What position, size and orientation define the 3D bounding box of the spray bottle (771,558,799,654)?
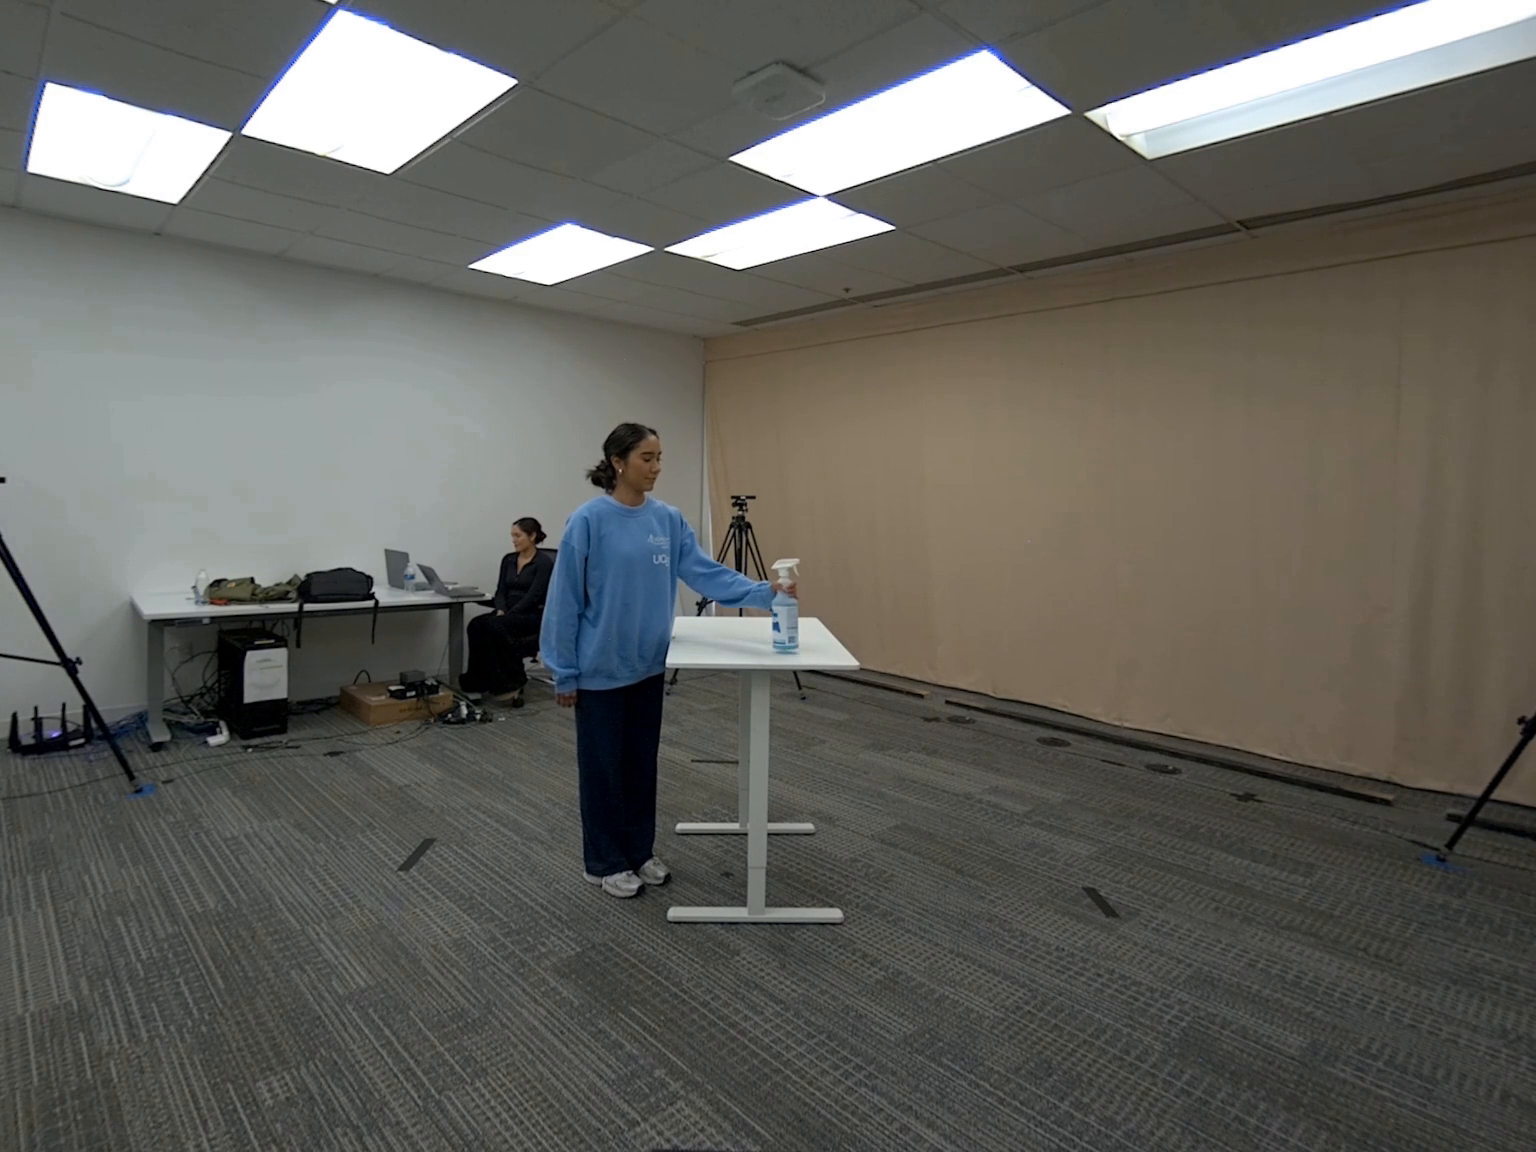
[{"bbox_3d":[0.042,0.092,2.776,0.092,0.296,0.085,2,5,32],"label":"spray bottle"}]
